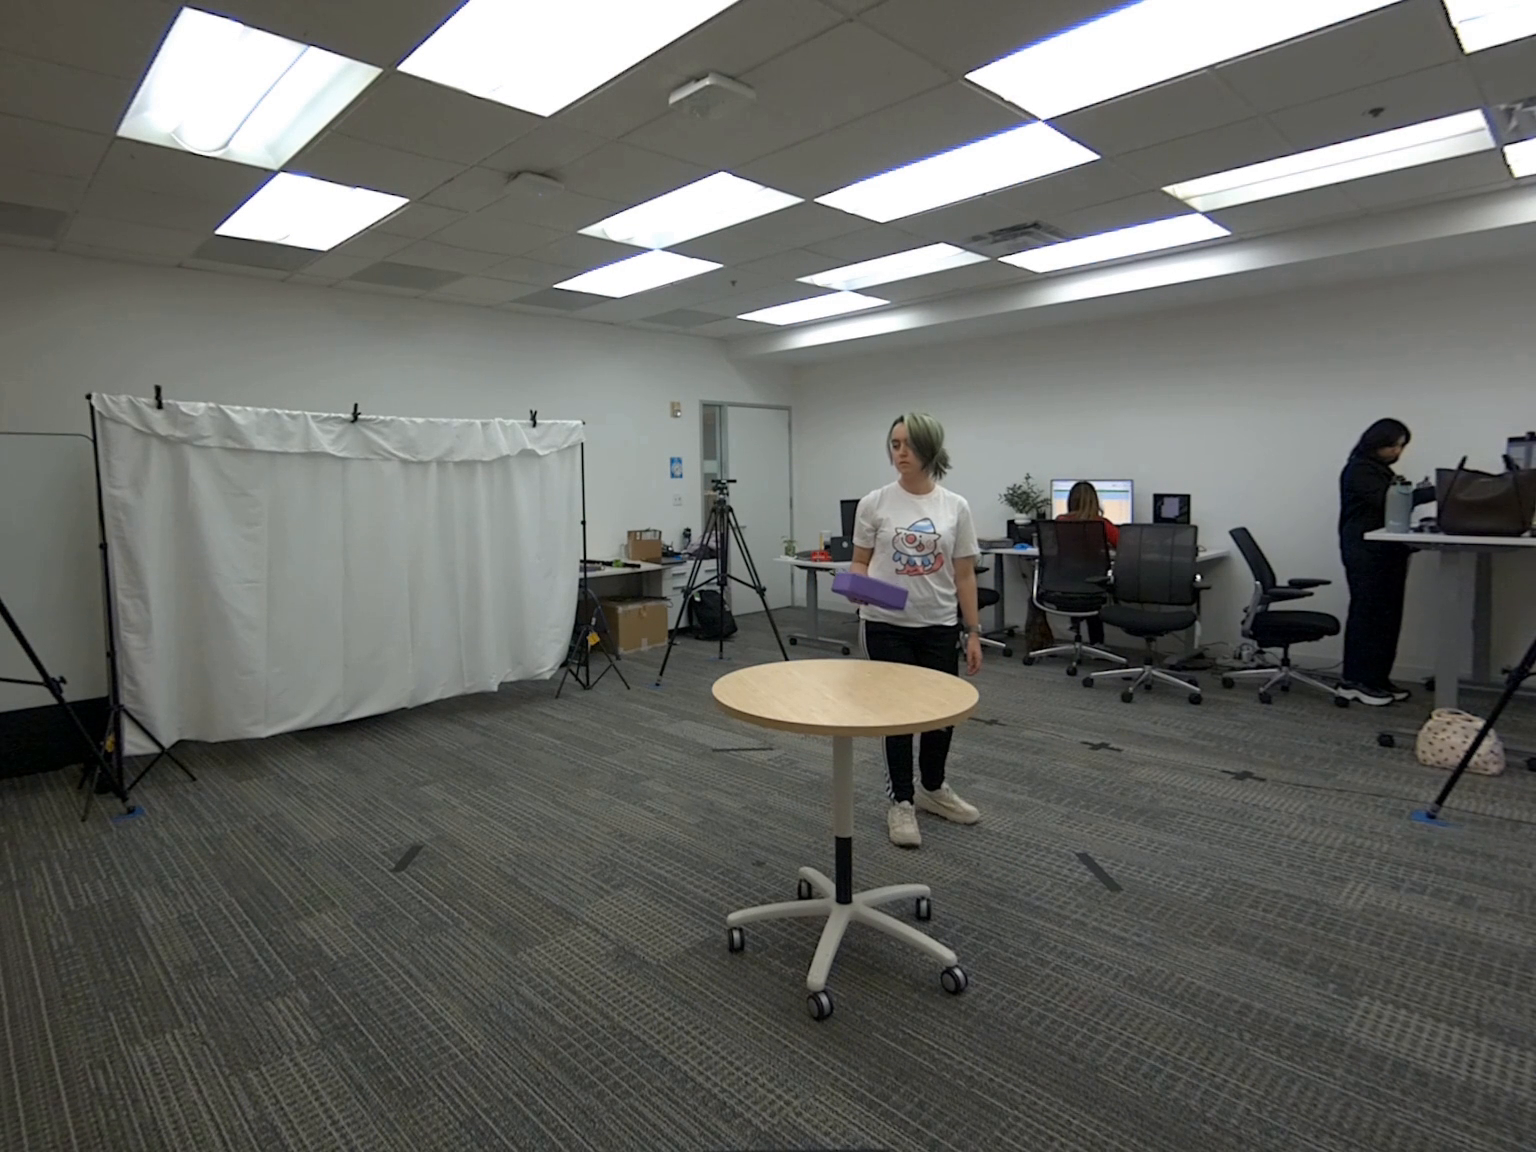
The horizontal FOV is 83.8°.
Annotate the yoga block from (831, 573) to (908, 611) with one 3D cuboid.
[{"bbox_3d":[0.369,0.048,3.011,0.225,0.077,0.151,18,-7,-17],"label":"yoga block"}]
